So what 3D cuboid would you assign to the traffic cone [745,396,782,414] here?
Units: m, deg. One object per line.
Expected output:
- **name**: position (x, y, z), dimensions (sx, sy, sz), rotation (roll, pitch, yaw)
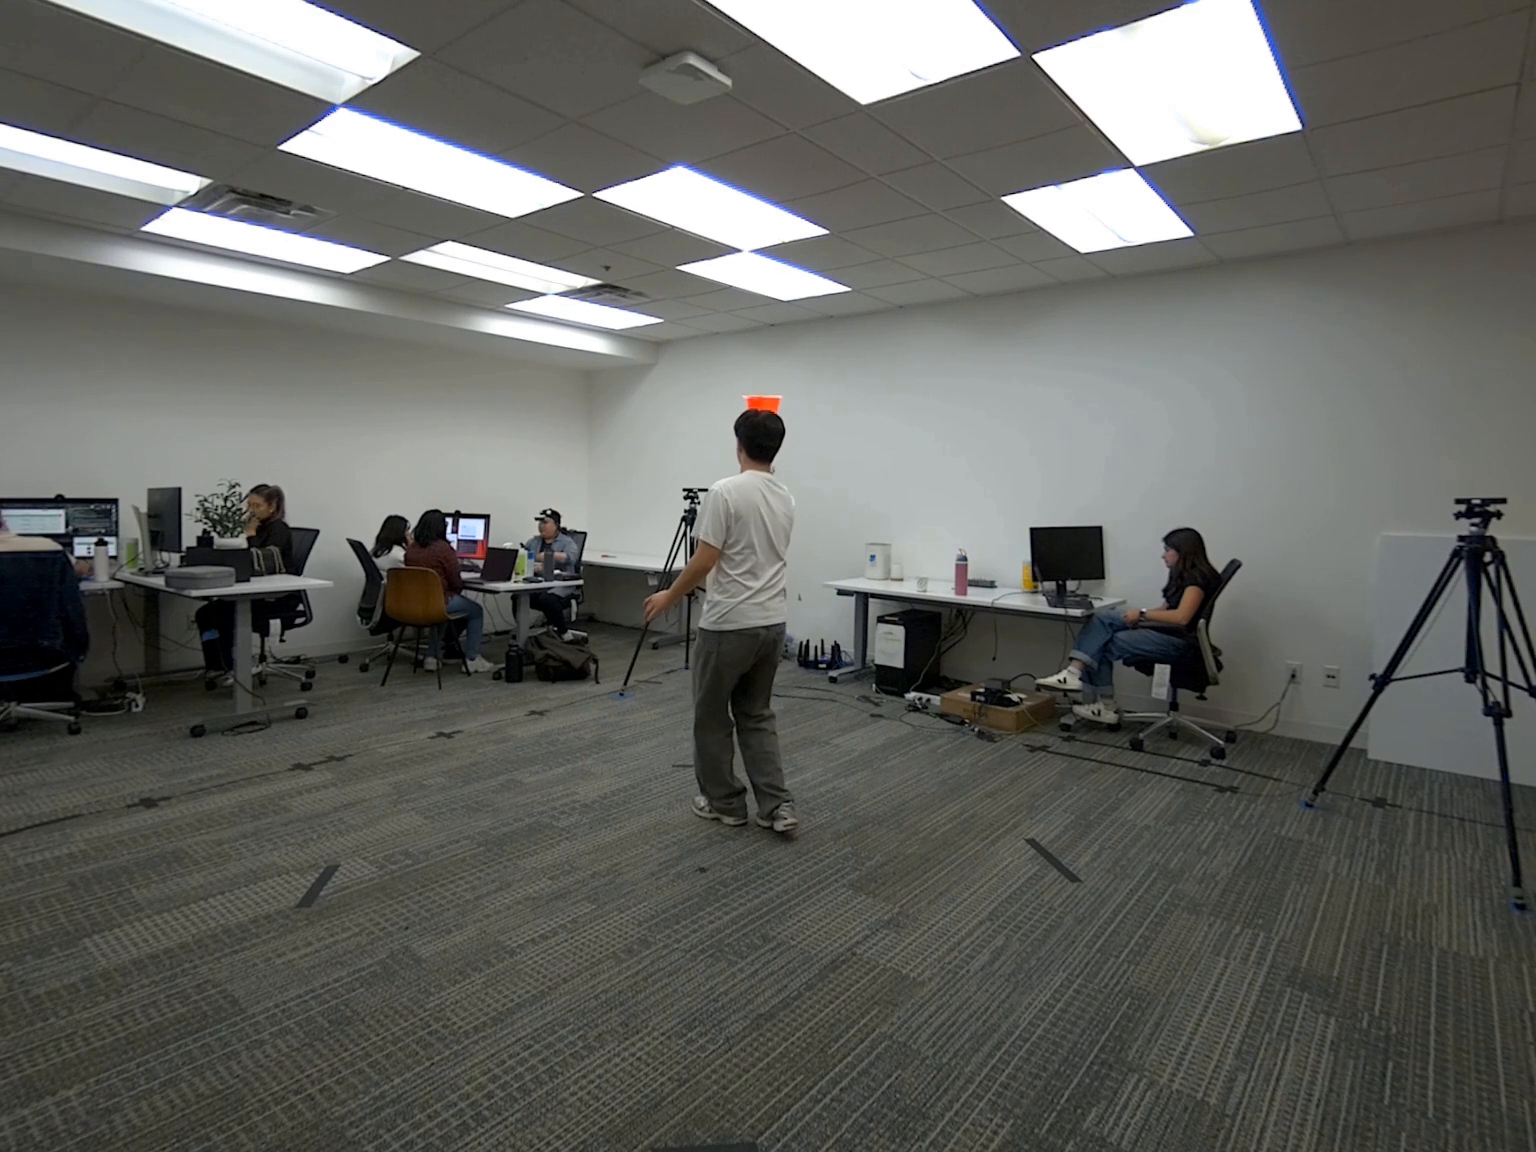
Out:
- **traffic cone**: position (-0.028, -0.663, 4.053), dimensions (0.202, 0.379, 0.208), rotation (1, 12, -4)
